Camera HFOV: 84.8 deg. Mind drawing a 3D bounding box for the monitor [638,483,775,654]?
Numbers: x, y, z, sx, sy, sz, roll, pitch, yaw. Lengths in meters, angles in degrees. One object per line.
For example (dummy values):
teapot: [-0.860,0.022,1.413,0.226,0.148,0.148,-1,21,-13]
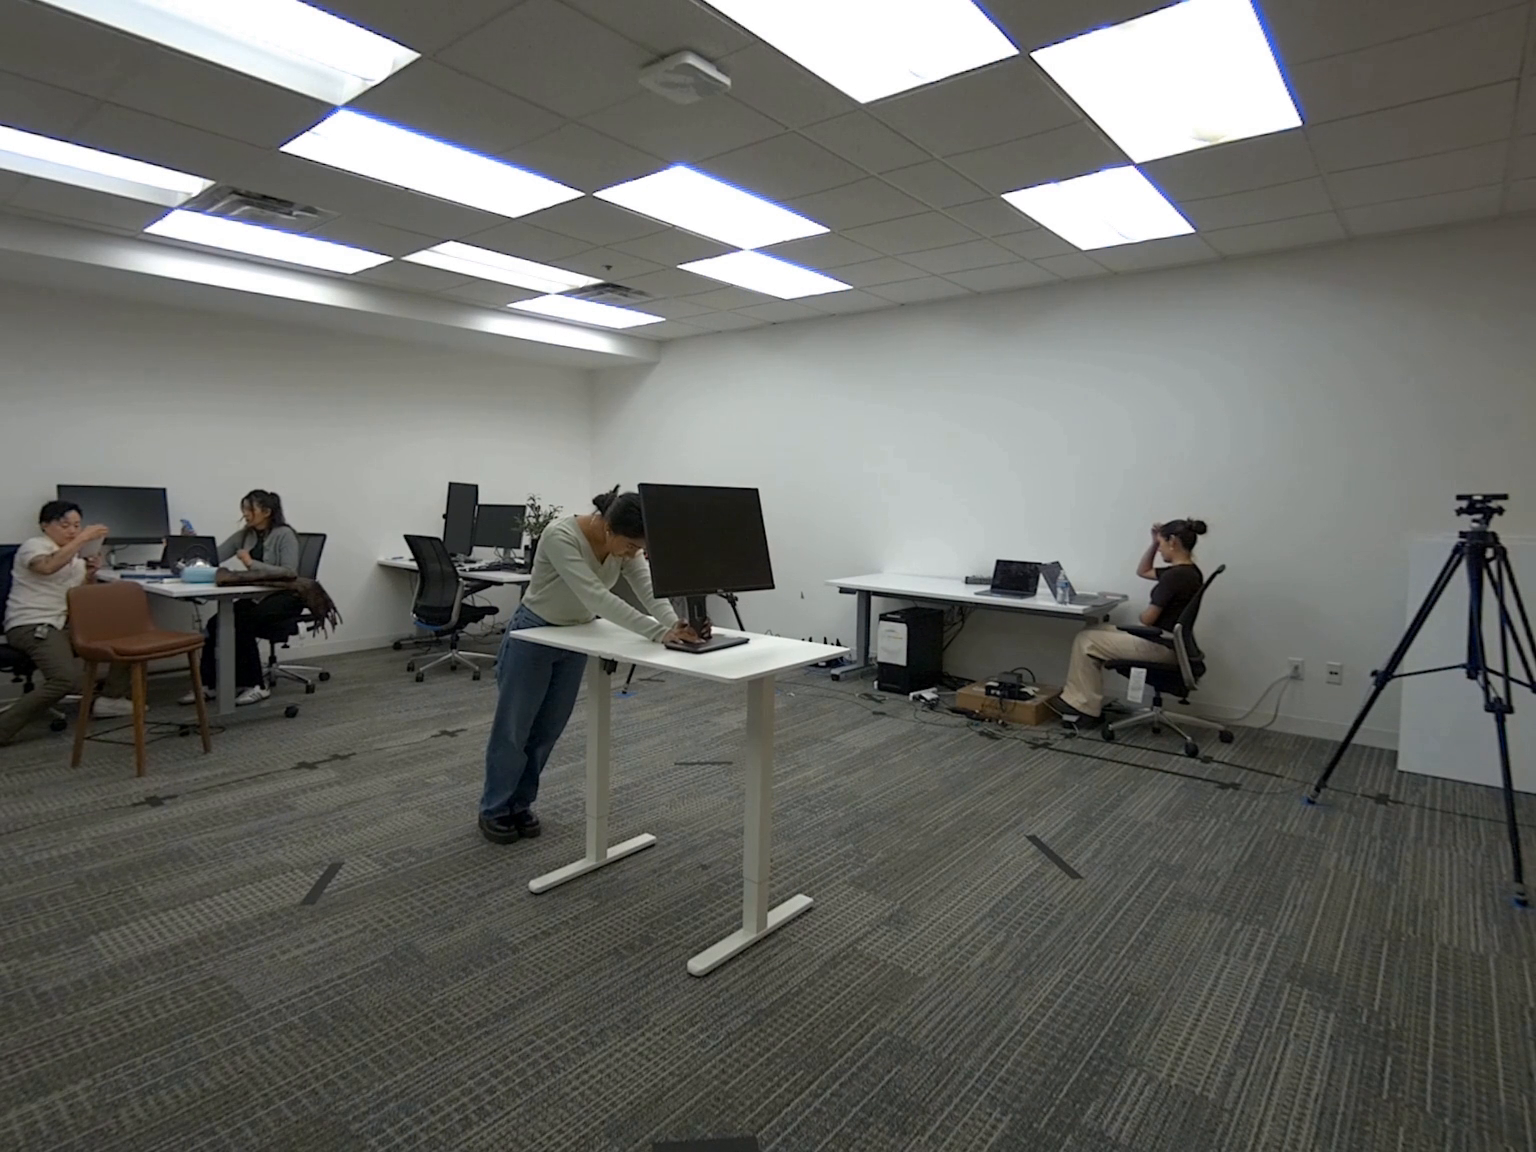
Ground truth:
monitor: [-0.217,-0.032,2.737,0.193,0.522,0.523,1,2,40]
